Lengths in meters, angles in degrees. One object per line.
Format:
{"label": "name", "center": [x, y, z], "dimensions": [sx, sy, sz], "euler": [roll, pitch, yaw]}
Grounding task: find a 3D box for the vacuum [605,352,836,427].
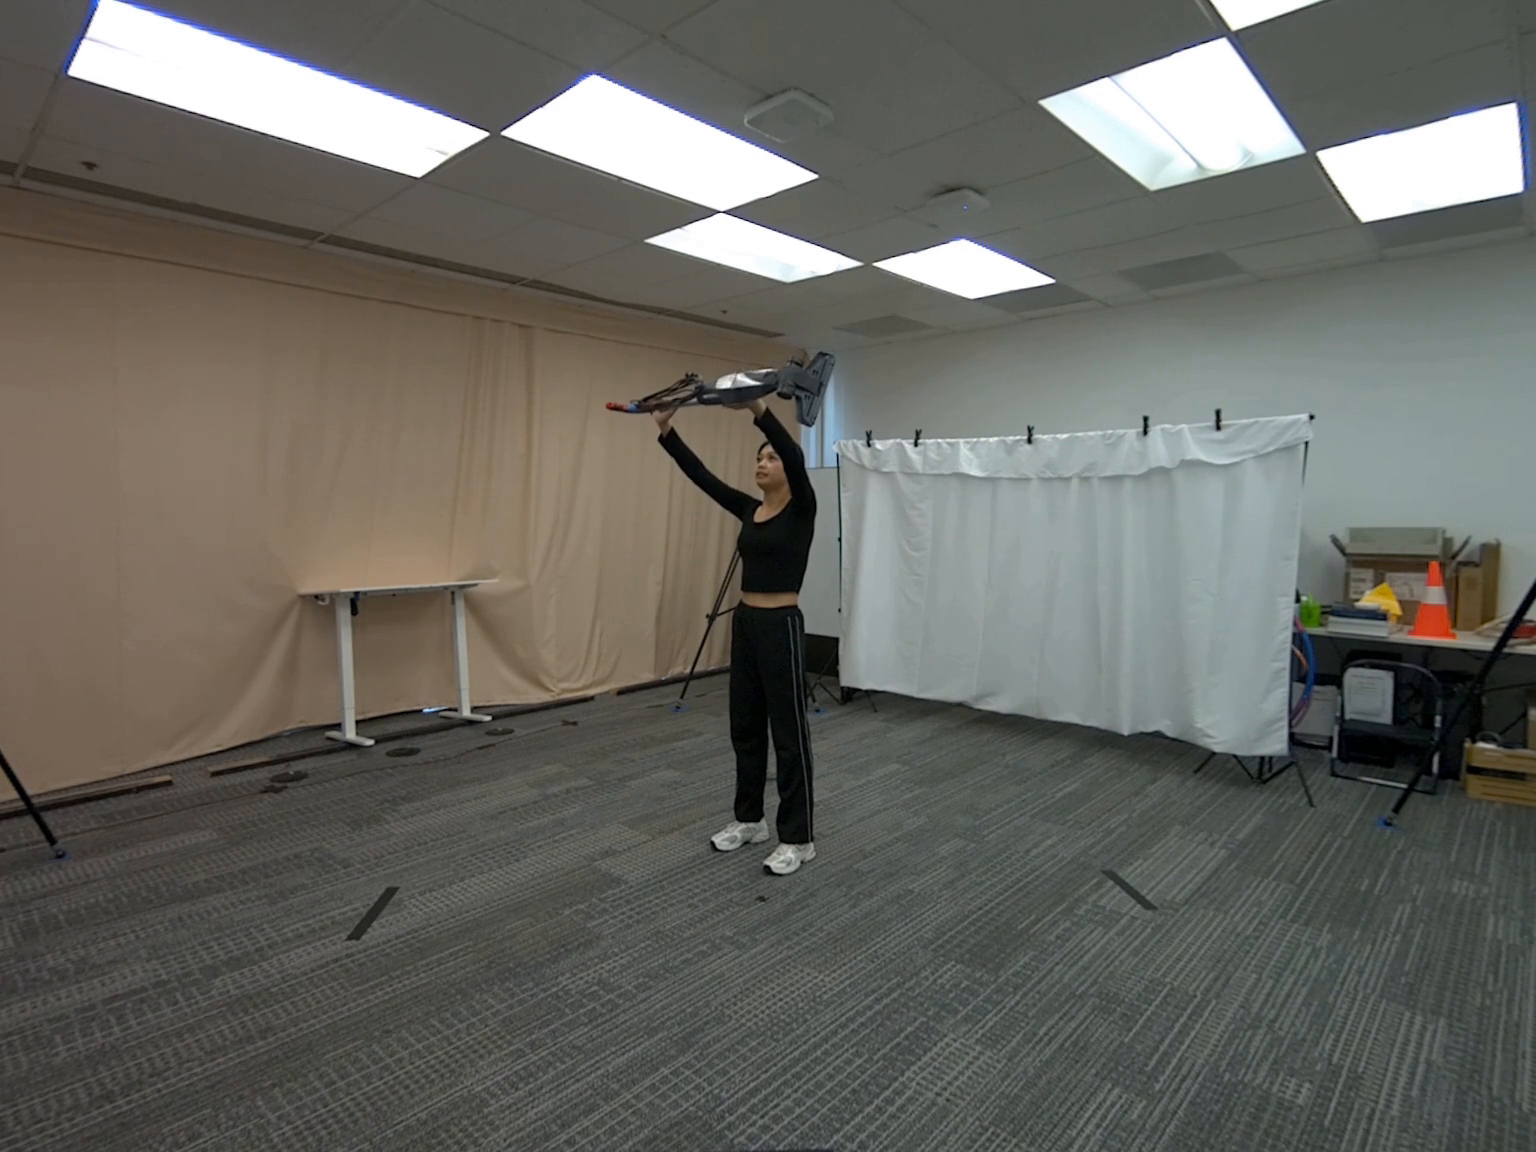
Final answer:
{"label": "vacuum", "center": [-0.252, -0.640, 3.015], "dimensions": [1.085, 0.253, 0.139], "euler": [7, -18, 44]}
